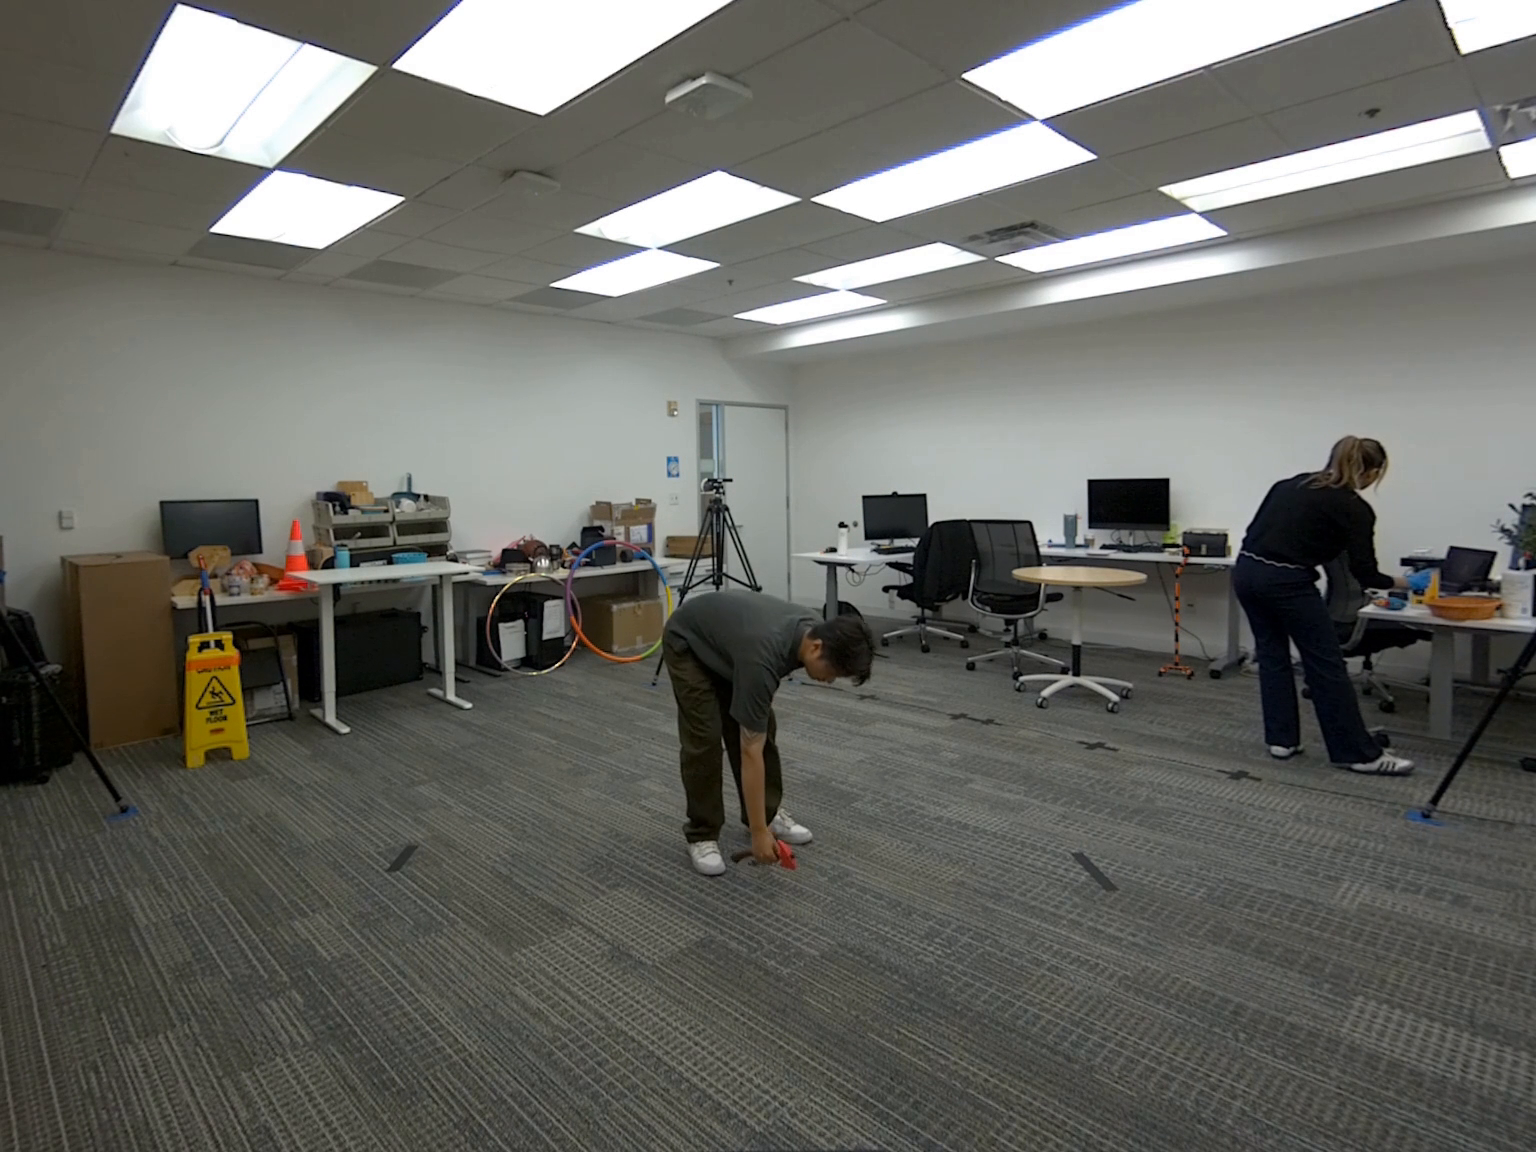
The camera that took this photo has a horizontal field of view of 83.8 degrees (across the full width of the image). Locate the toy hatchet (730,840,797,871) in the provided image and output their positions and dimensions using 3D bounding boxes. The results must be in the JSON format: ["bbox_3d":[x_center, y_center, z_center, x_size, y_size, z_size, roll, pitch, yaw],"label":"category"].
[{"bbox_3d":[0.002,0.964,2.894,0.272,0.129,0.030,-33,16,42],"label":"toy hatchet"}]
